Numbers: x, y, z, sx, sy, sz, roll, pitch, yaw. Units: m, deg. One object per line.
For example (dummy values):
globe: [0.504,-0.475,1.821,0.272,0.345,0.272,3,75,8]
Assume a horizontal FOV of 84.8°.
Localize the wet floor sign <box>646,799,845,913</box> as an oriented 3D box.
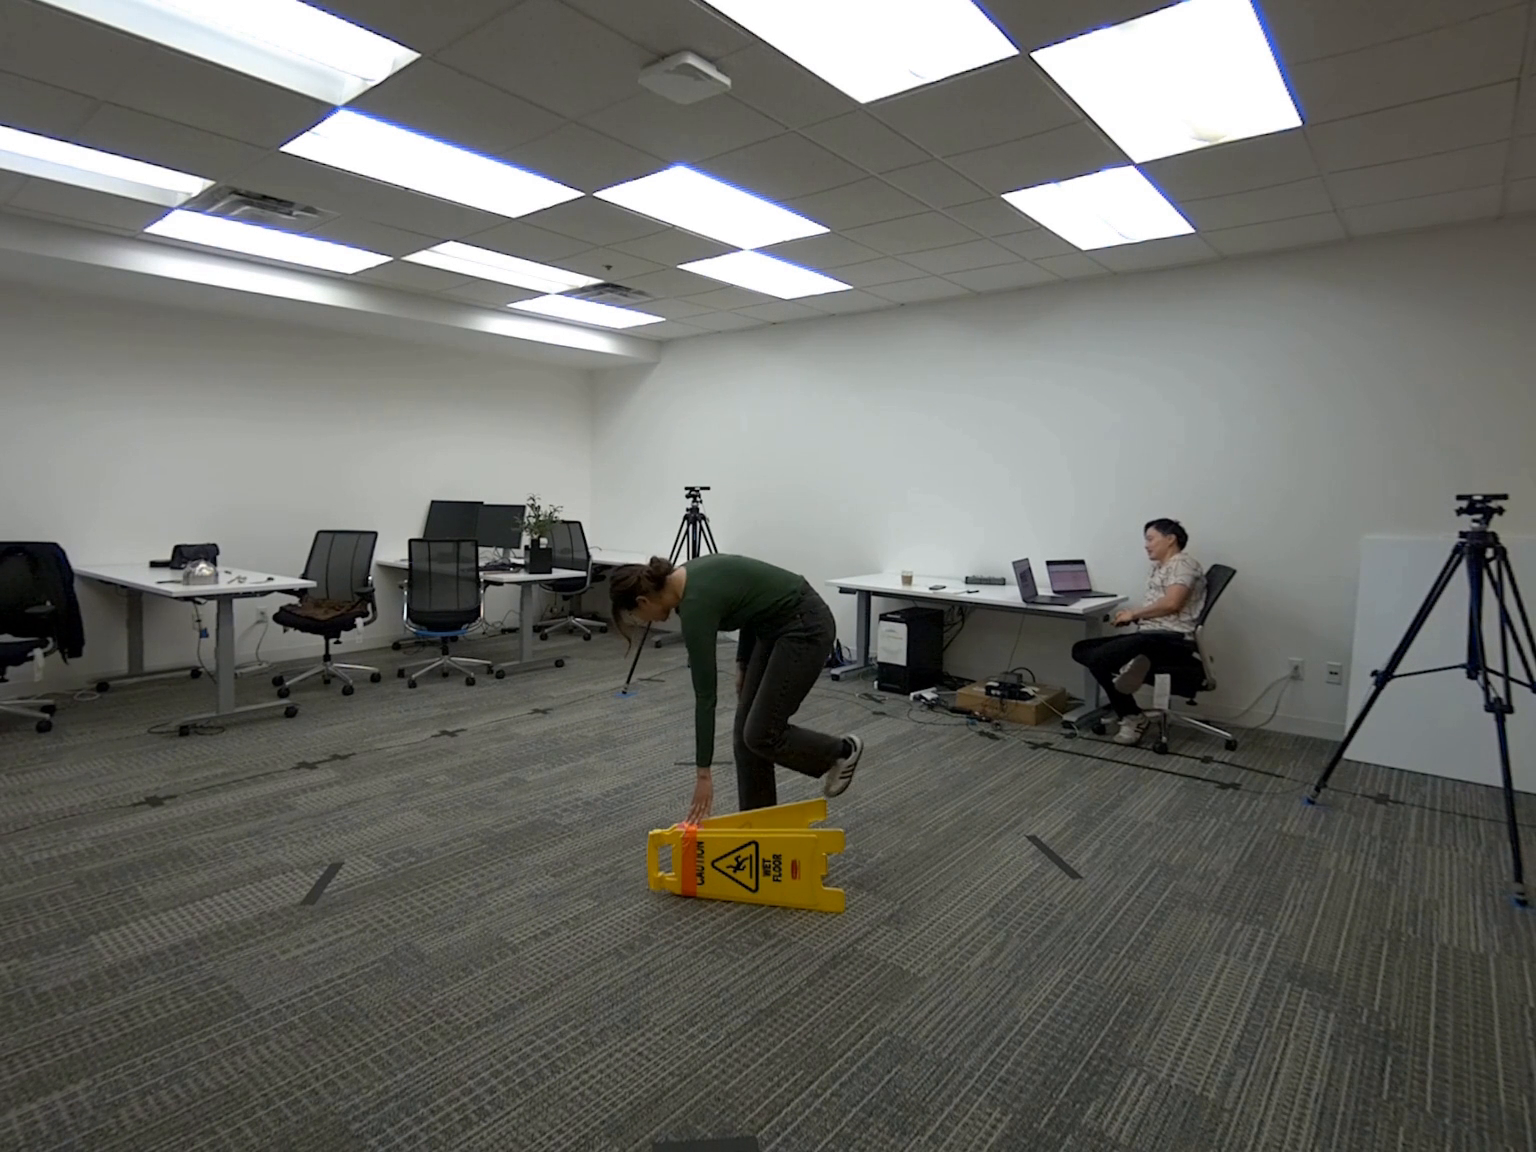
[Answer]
wet floor sign: [-0.099,0.953,2.907,0.643,0.281,0.292,-2,5,-5]
